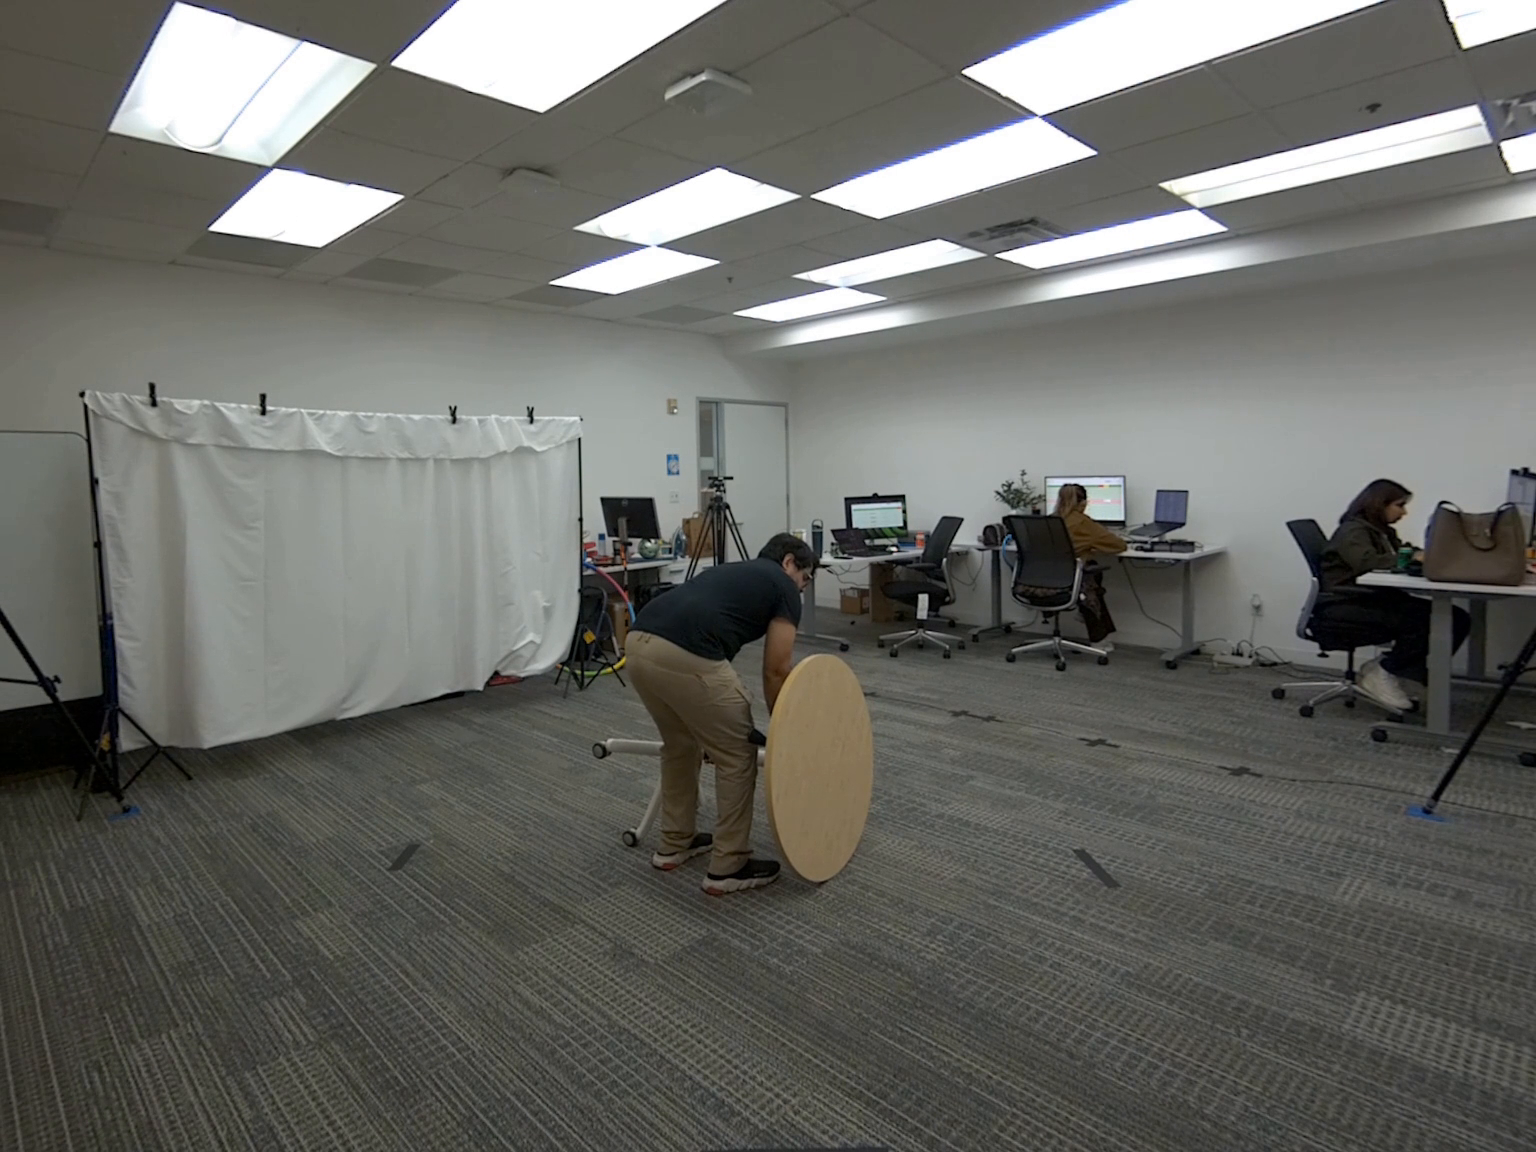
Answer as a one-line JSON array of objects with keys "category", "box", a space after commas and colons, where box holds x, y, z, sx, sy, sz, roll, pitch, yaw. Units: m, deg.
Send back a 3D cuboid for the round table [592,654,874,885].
[{"category": "round table", "box": [-0.127, 0.669, 3.218, 0.806, 0.784, 0.767, -3, 3, 33]}]
